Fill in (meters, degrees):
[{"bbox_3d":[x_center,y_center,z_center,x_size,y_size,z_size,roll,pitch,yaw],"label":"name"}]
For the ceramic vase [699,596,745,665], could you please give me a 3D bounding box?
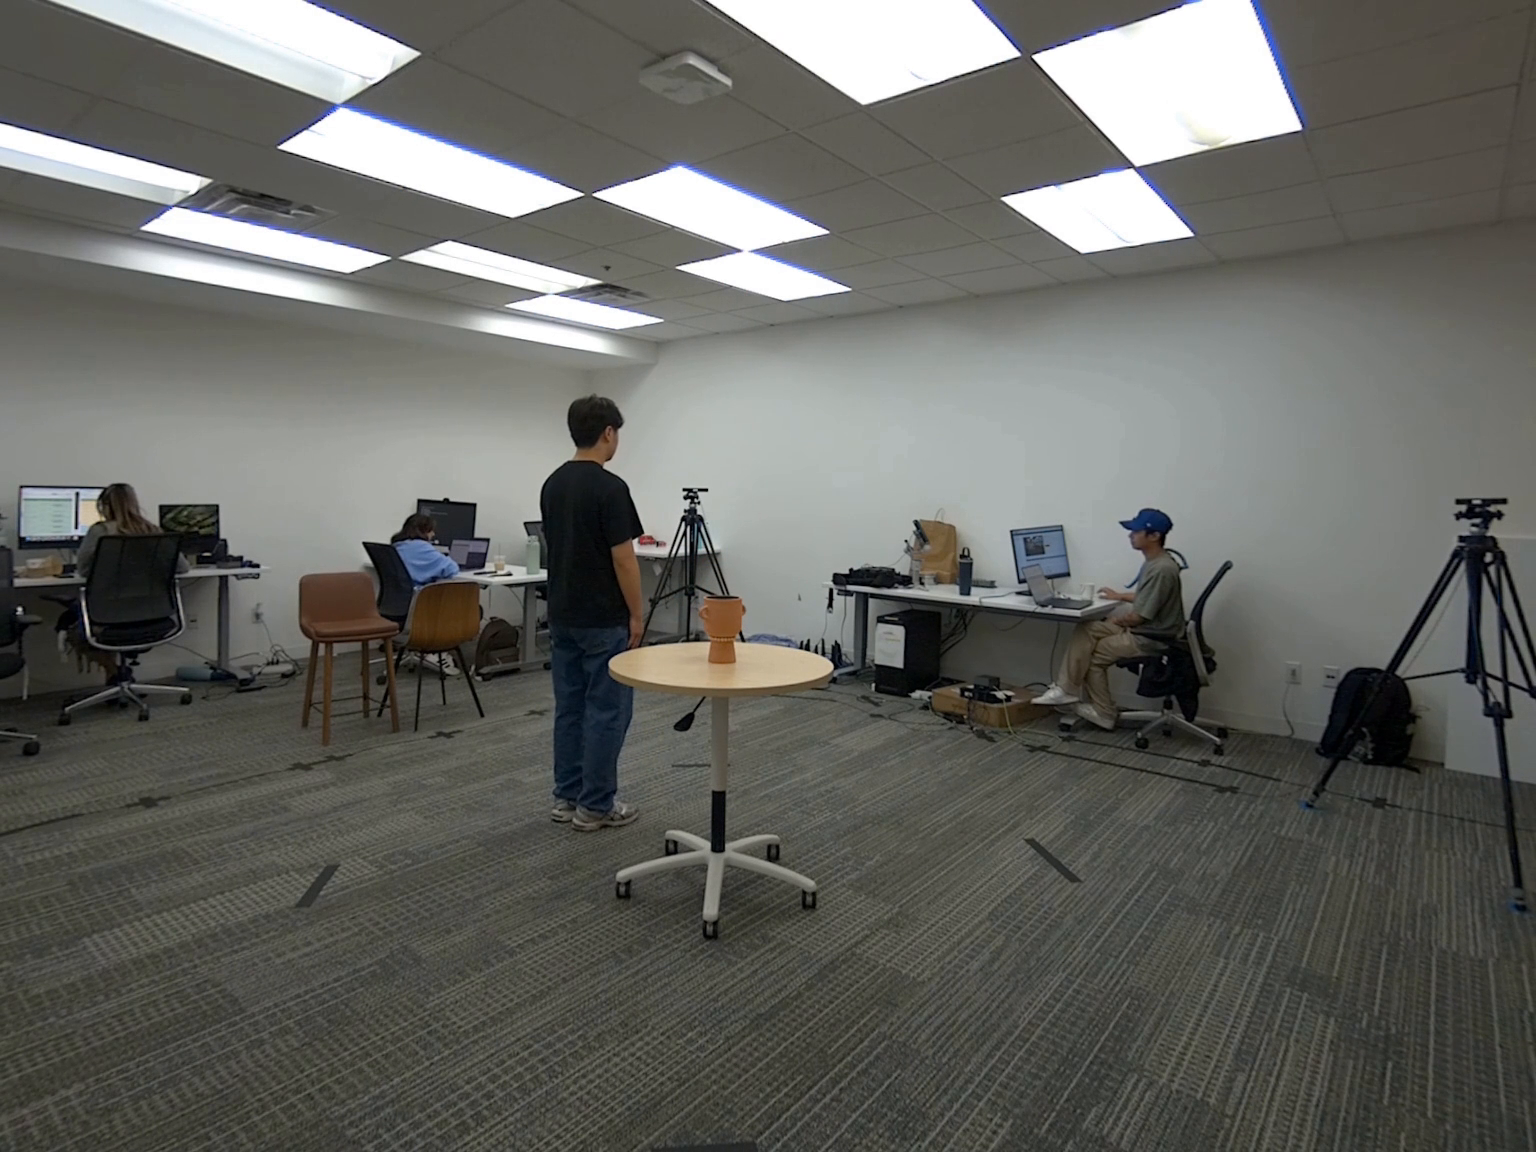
[{"bbox_3d":[-0.167,0.184,2.930,0.159,0.219,0.134,1,3,2],"label":"ceramic vase"}]
